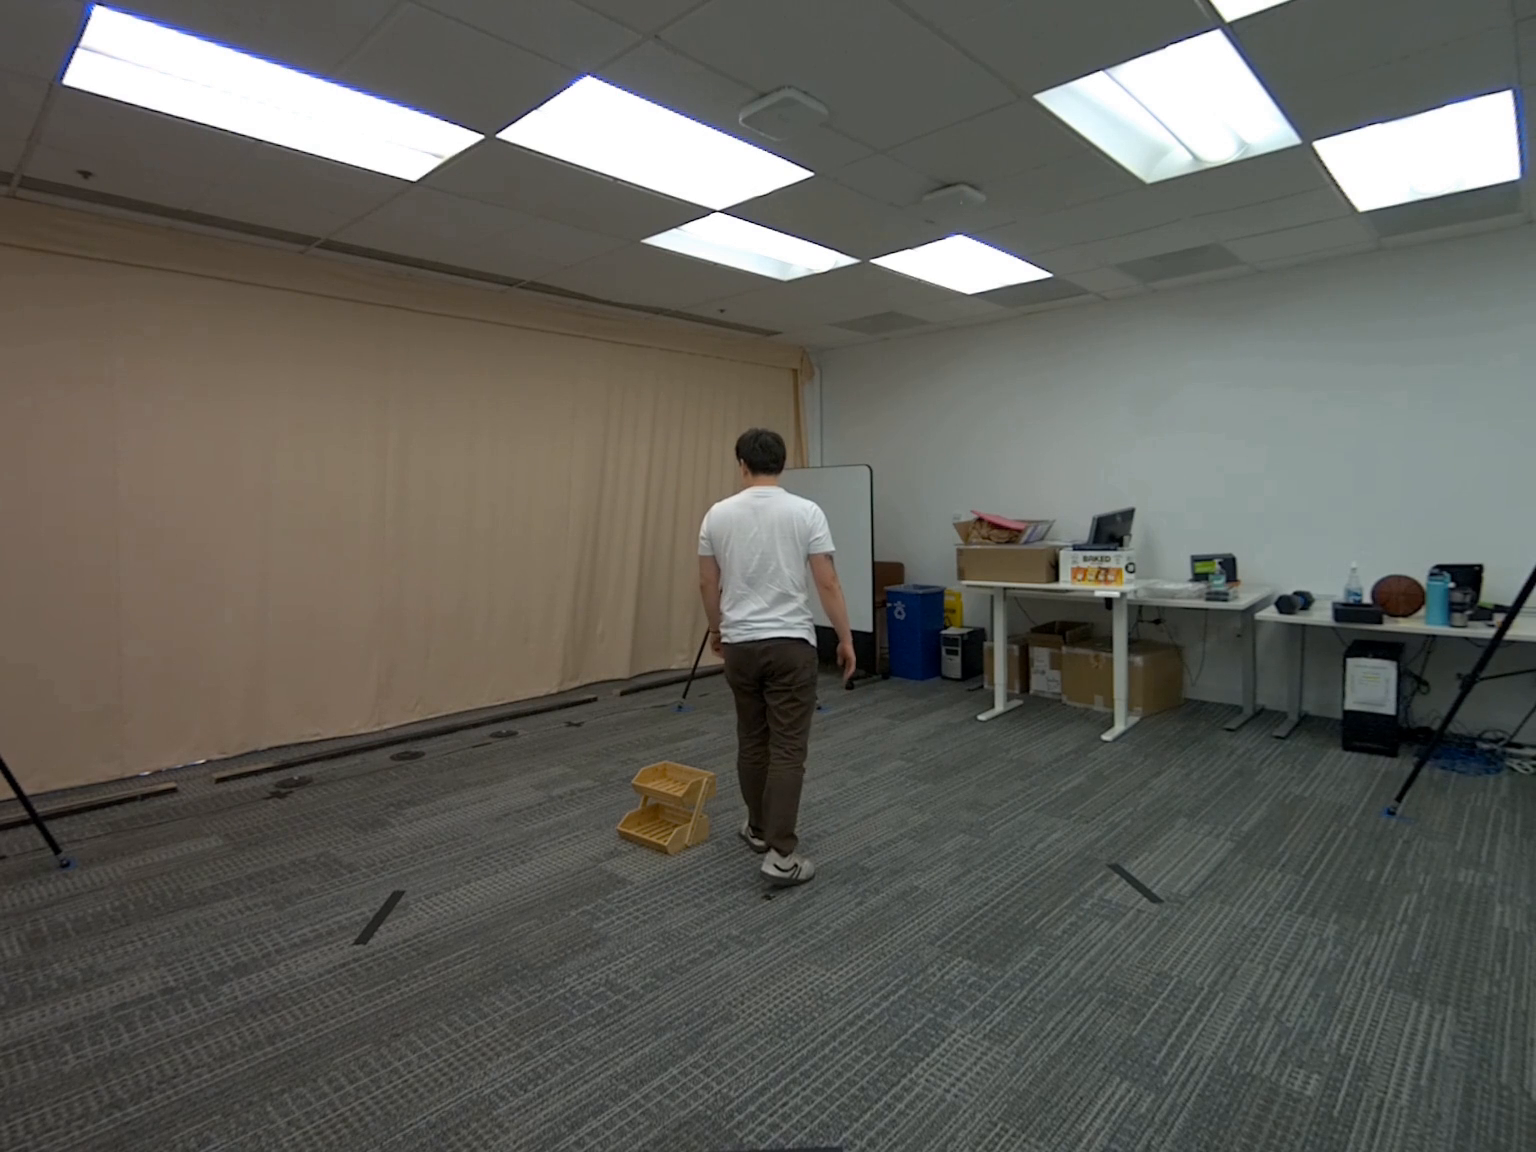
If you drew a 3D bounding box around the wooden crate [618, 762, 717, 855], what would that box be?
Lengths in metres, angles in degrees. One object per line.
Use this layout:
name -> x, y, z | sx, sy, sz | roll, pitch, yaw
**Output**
wooden crate -> -0.428, 0.965, 3.552 | 0.335, 0.273, 0.293 | 2, 4, 40
